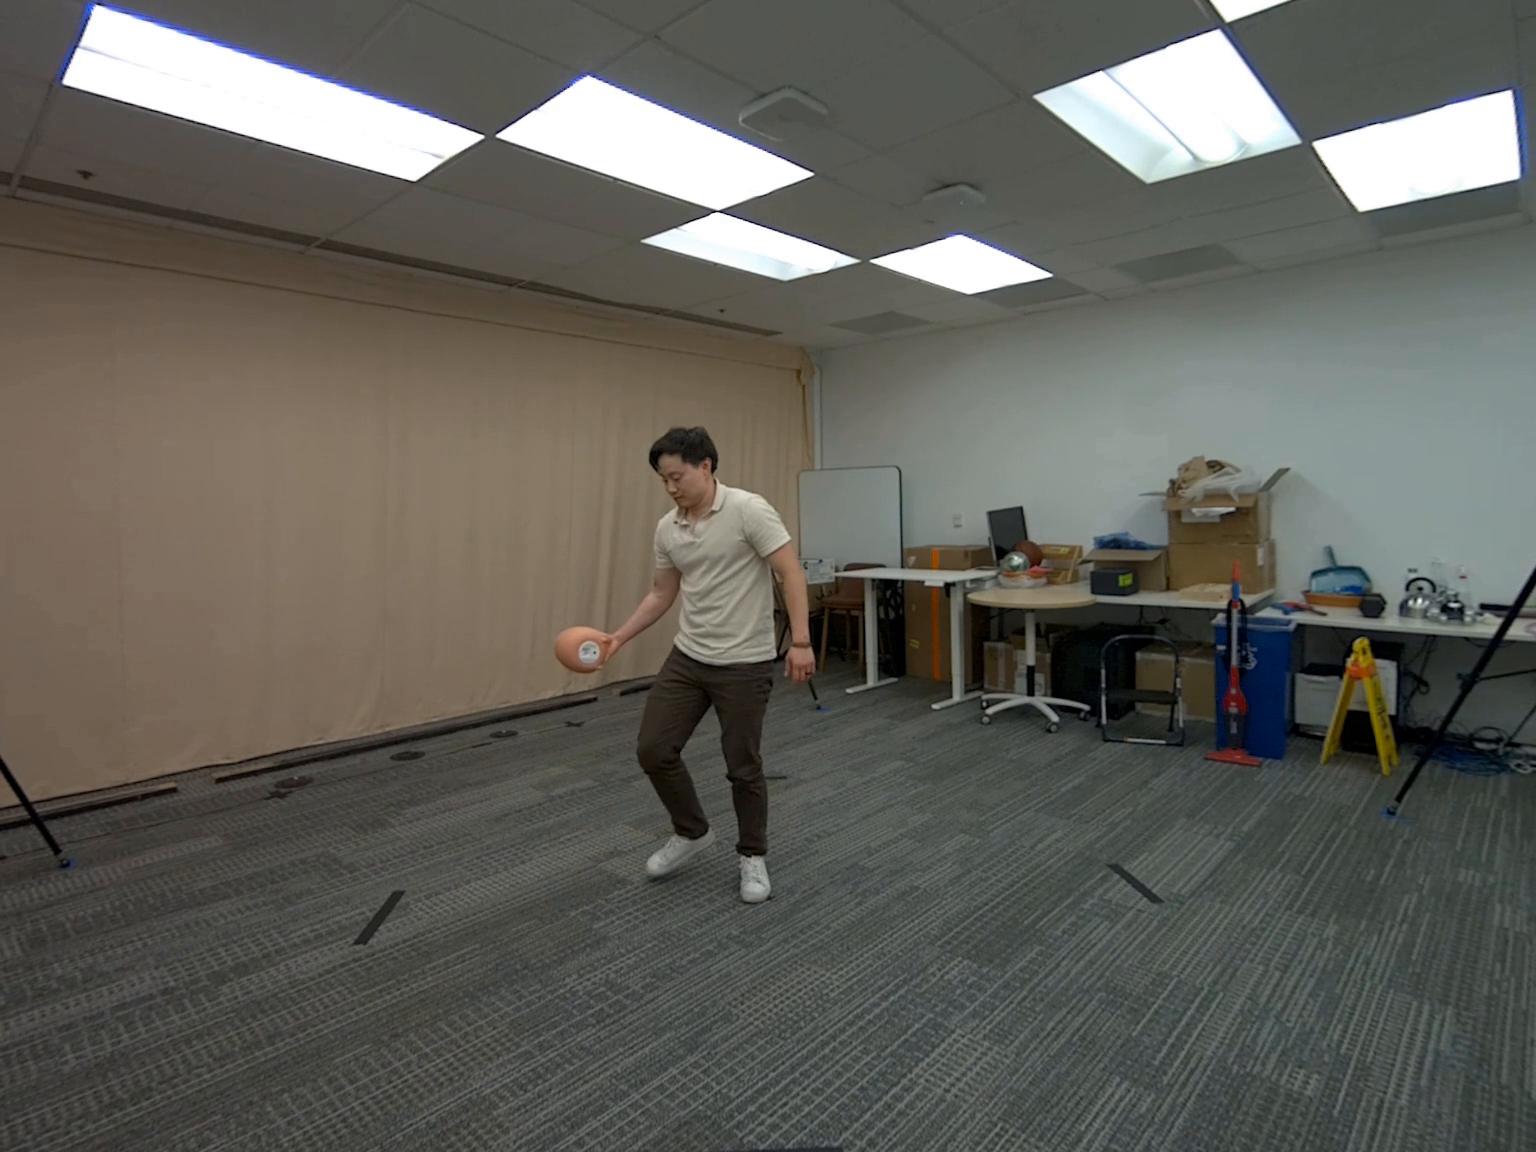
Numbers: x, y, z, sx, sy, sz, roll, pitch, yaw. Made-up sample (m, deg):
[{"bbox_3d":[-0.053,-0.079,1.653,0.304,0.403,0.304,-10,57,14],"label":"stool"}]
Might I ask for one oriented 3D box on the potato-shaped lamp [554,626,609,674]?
[{"bbox_3d":[-0.692,0.269,3.038,0.167,0.165,0.203,11,-3,-27],"label":"potato-shaped lamp"}]
